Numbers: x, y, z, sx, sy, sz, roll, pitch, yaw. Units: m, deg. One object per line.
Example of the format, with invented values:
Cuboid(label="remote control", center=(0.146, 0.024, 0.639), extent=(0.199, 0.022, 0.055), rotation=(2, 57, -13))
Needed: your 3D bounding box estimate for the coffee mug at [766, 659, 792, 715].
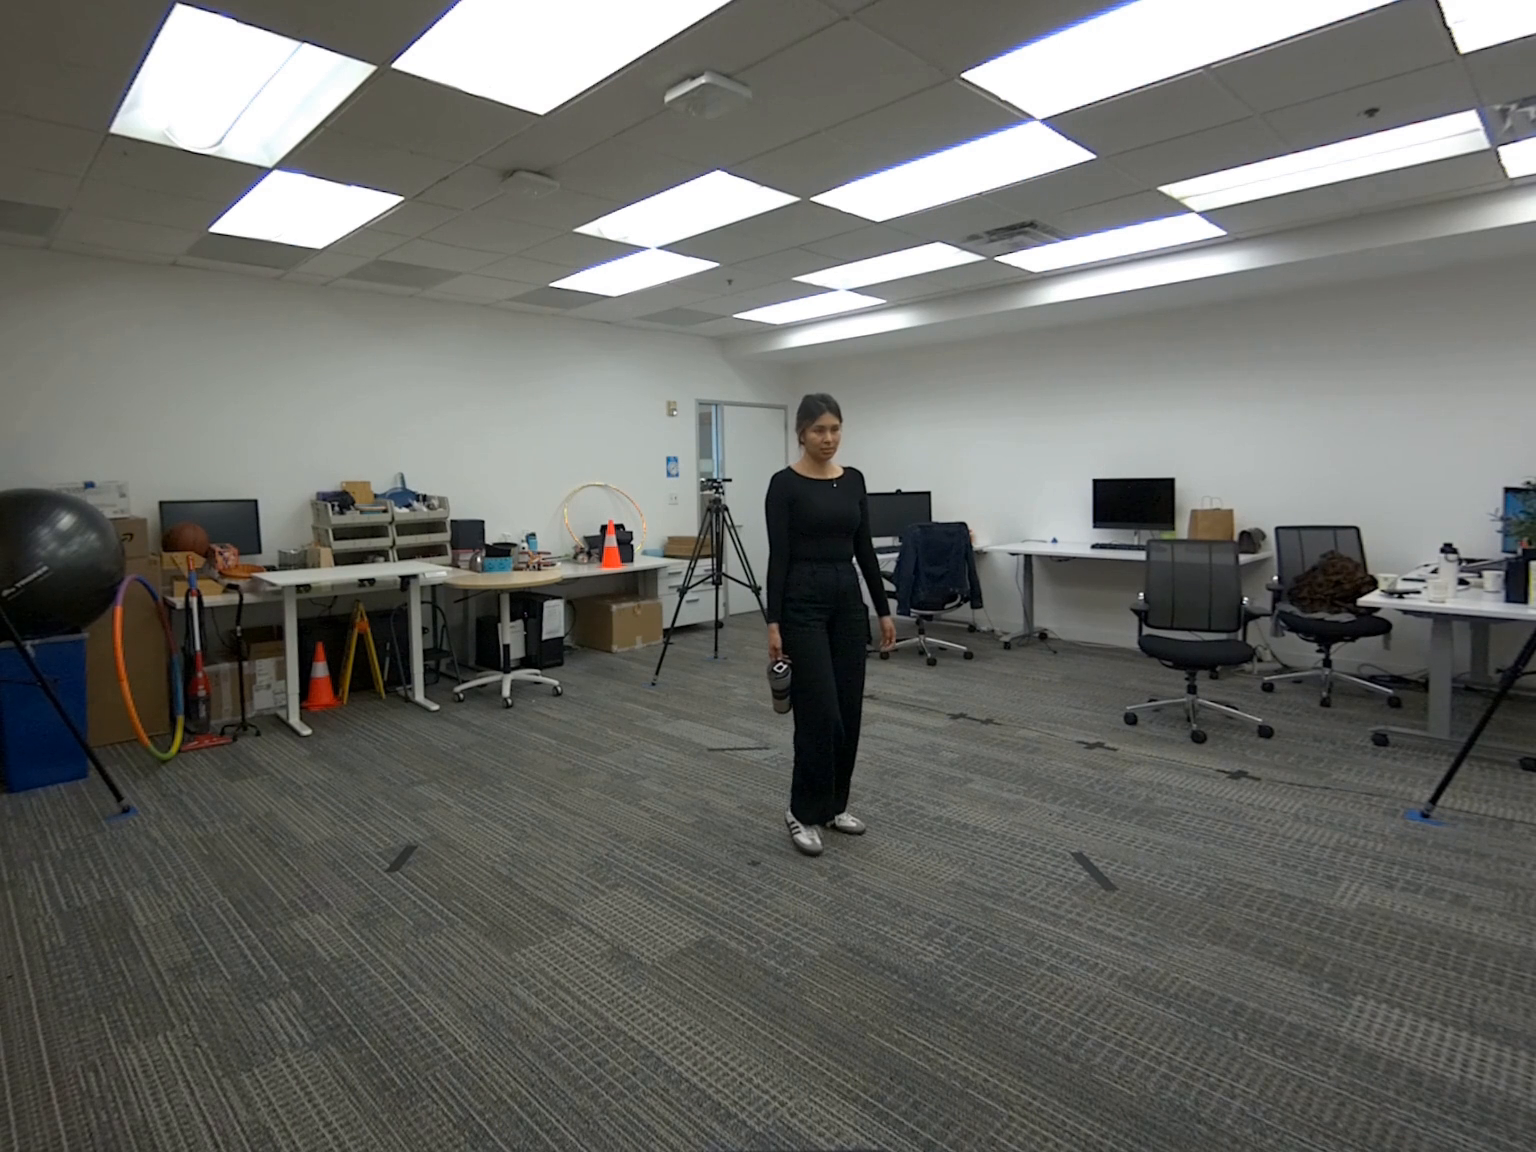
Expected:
Cuboid(label="coffee mug", center=(0.062, 0.412, 3.164), extent=(0.121, 0.197, 0.091), rotation=(-31, 36, -31))
